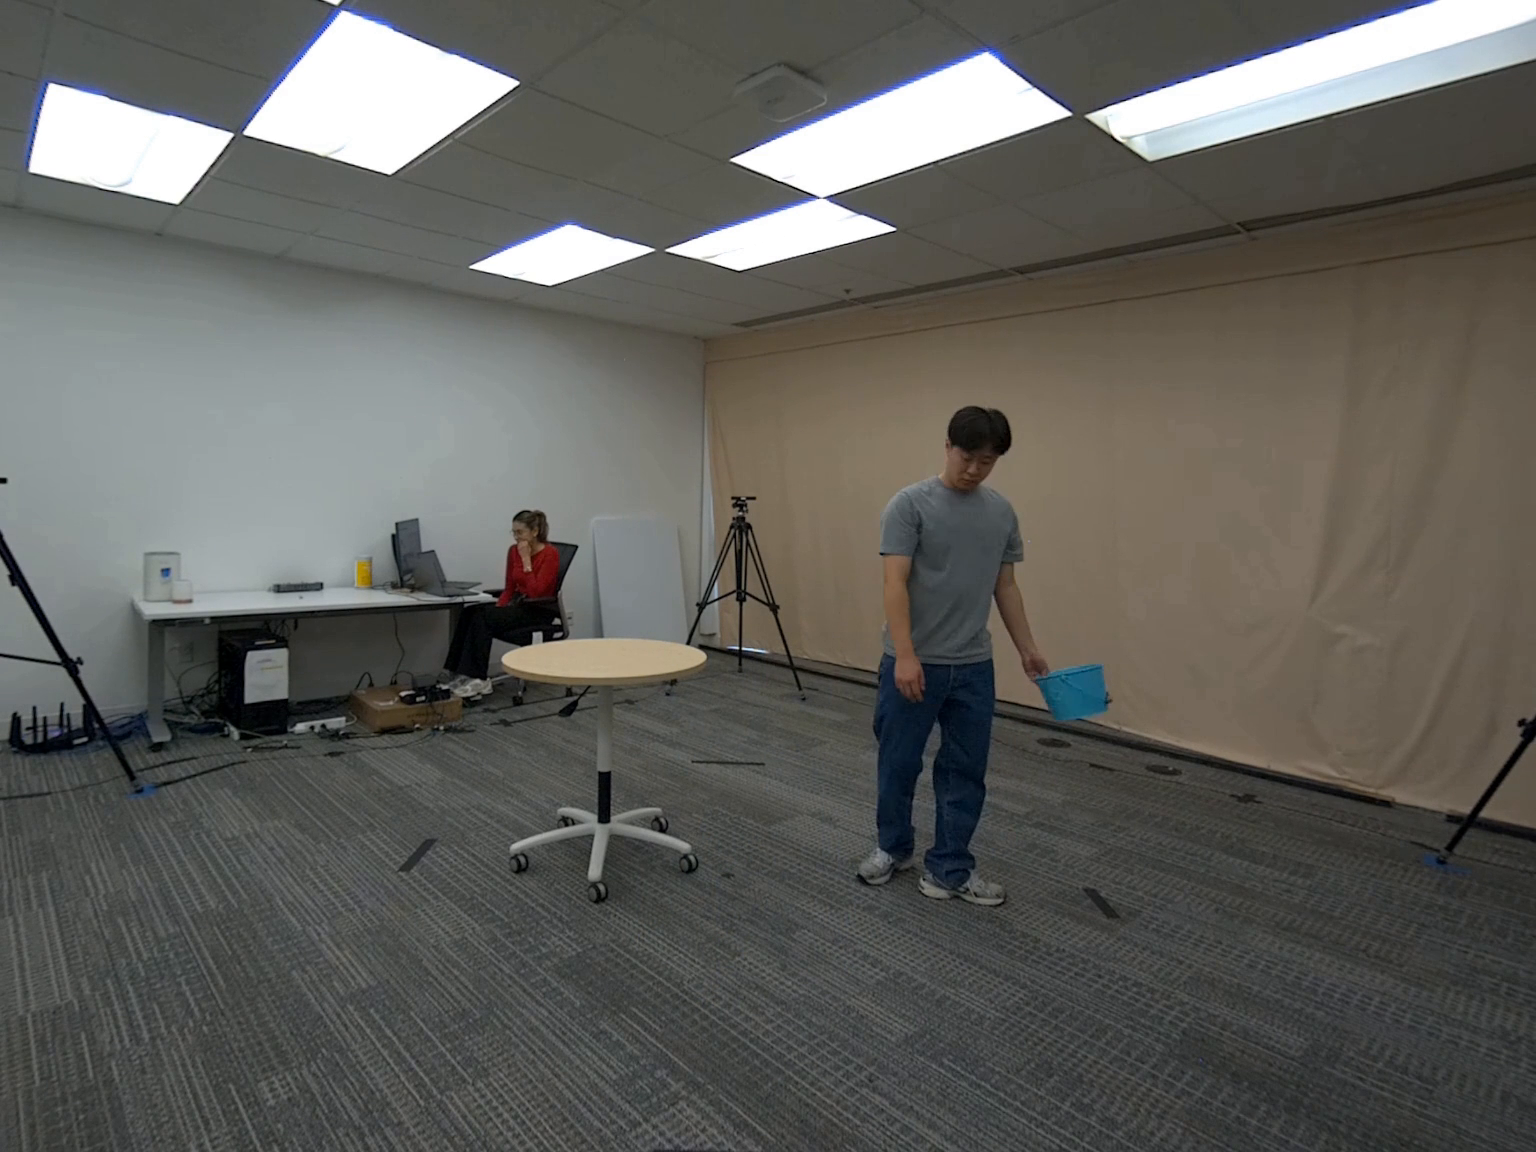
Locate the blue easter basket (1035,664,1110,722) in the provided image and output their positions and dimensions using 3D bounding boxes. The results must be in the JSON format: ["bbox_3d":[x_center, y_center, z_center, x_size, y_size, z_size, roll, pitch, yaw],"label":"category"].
[{"bbox_3d":[1.040,0.395,2.877,0.243,0.157,0.242,-12,-9,-4],"label":"blue easter basket"}]
